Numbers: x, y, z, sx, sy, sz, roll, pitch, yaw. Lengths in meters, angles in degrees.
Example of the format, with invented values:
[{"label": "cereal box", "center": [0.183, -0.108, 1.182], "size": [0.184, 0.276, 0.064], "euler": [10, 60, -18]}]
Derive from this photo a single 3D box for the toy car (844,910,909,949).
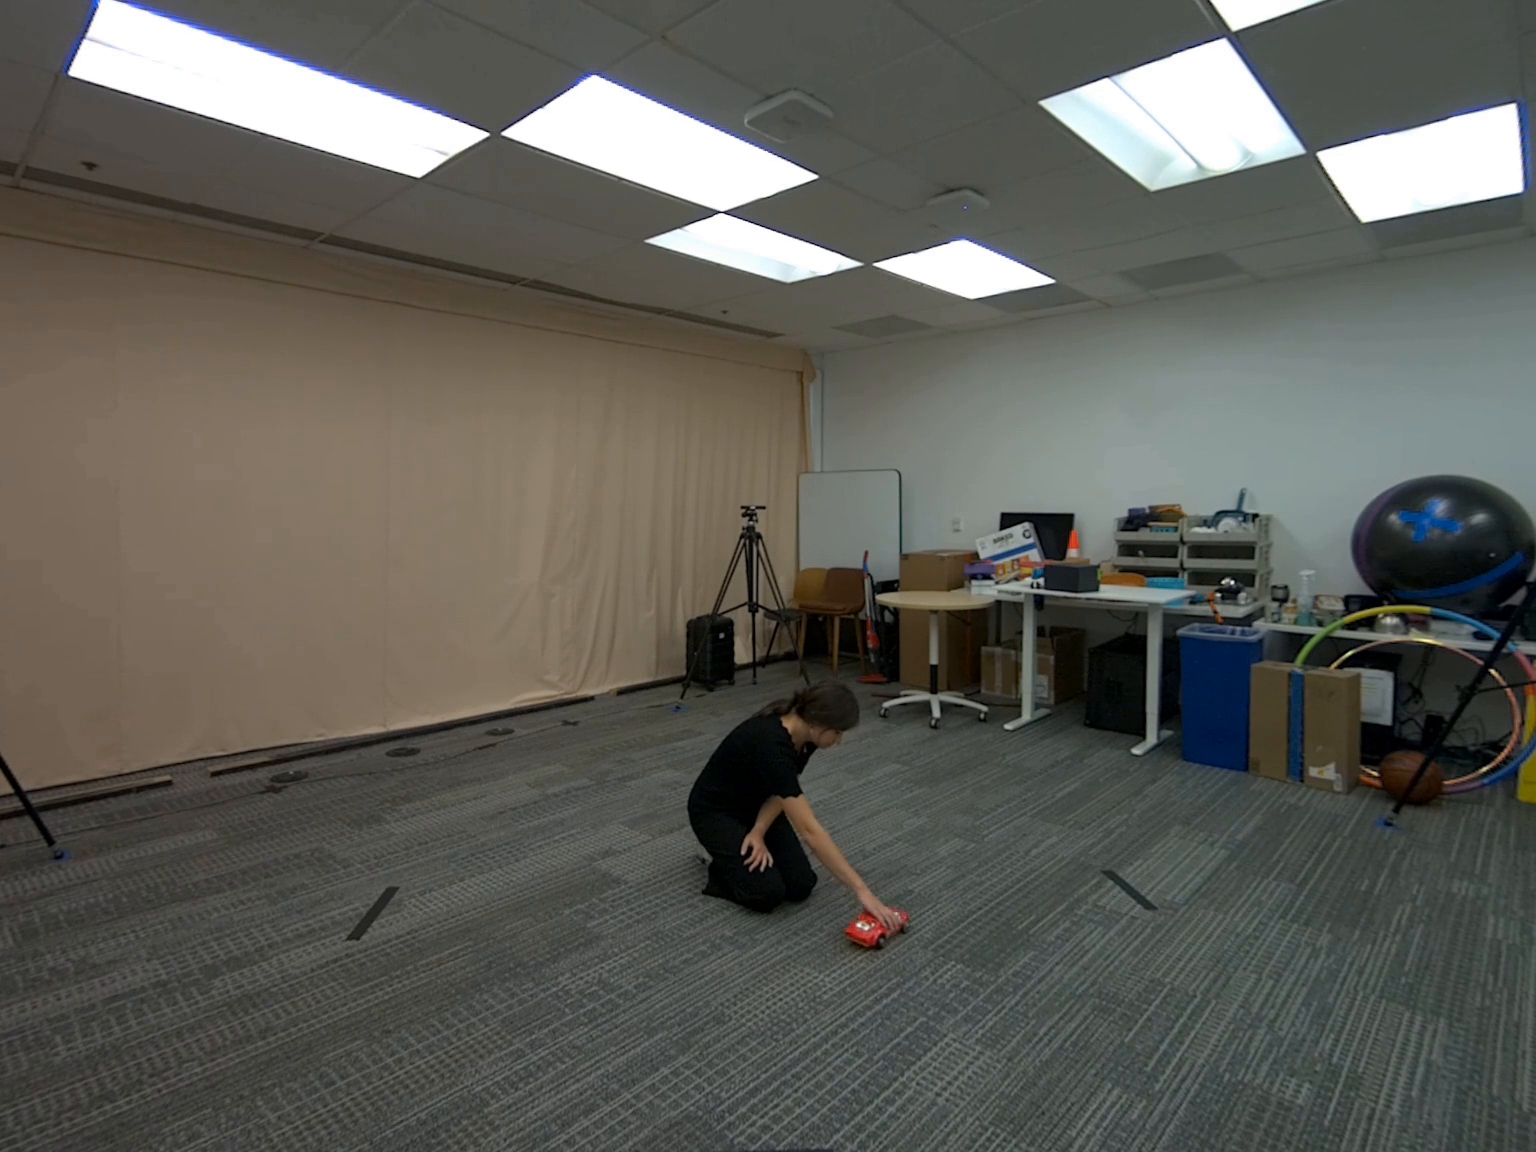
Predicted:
[{"label": "toy car", "center": [0.345, 1.135, 2.715], "size": [0.135, 0.083, 0.246], "euler": [5, -4, 43]}]
